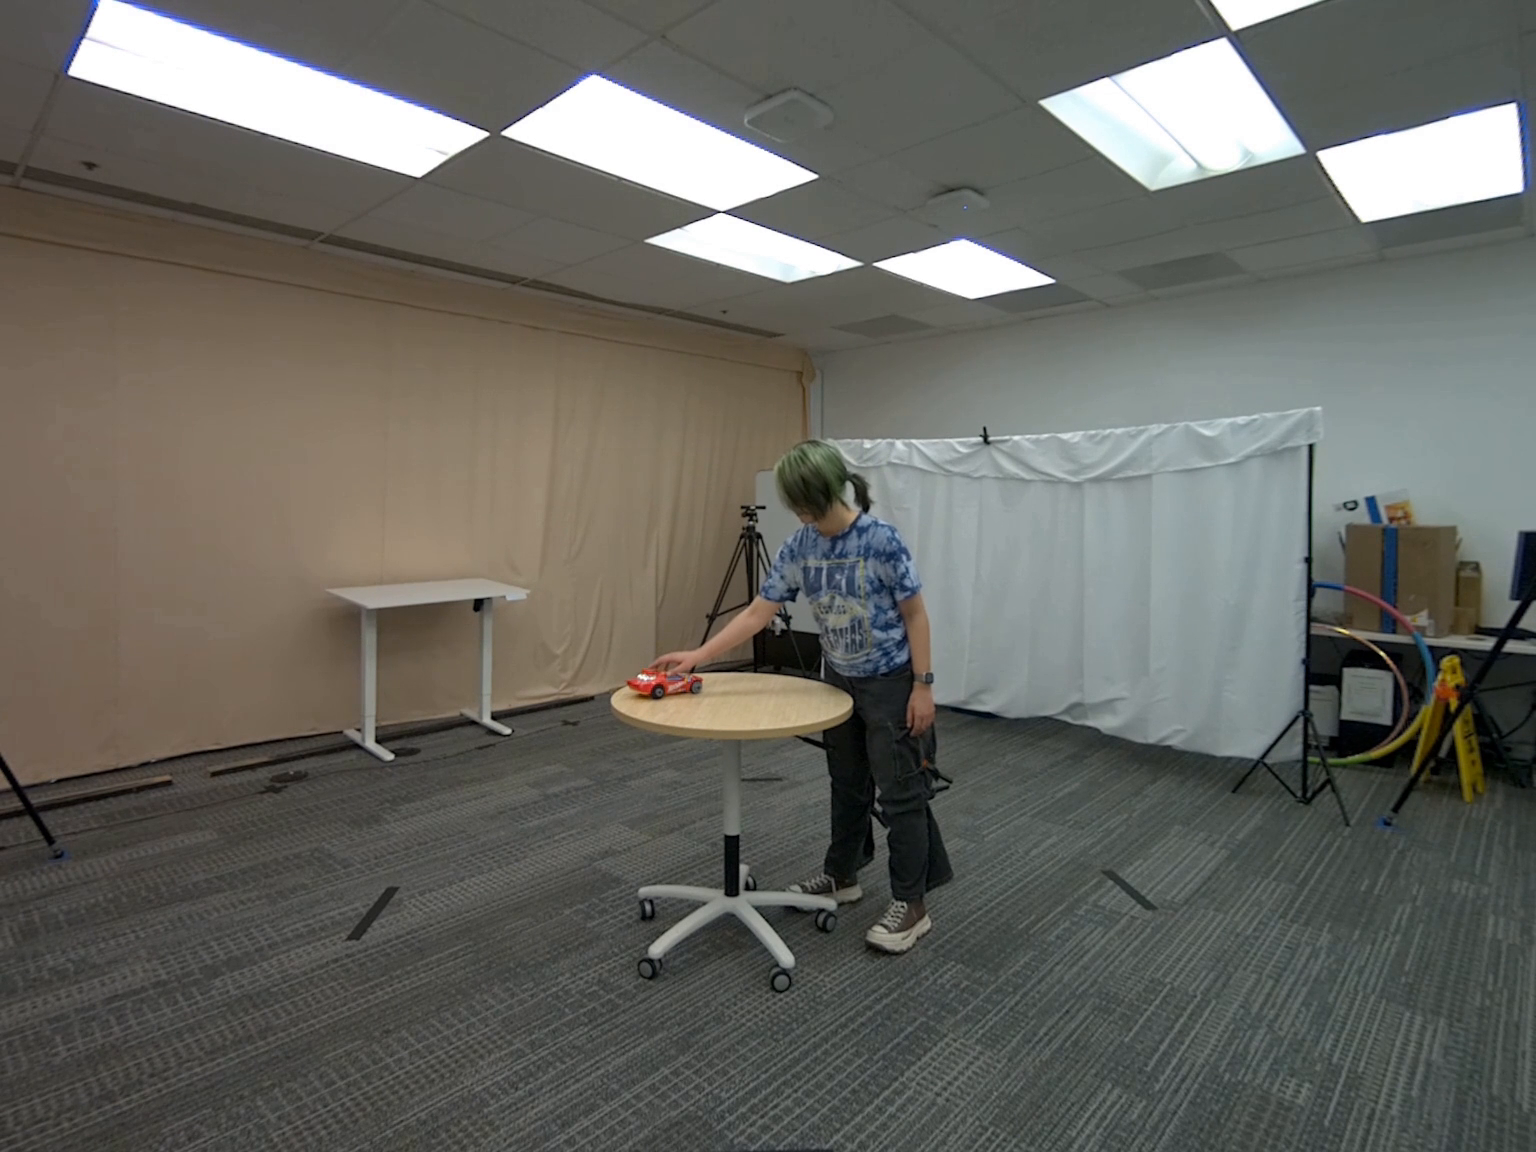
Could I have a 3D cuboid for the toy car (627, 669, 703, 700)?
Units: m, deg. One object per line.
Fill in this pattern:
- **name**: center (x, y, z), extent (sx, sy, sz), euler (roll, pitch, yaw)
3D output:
- **toy car**: center (-0.336, 0.354, 2.712), extent (0.246, 0.083, 0.134), euler (11, -2, -36)
